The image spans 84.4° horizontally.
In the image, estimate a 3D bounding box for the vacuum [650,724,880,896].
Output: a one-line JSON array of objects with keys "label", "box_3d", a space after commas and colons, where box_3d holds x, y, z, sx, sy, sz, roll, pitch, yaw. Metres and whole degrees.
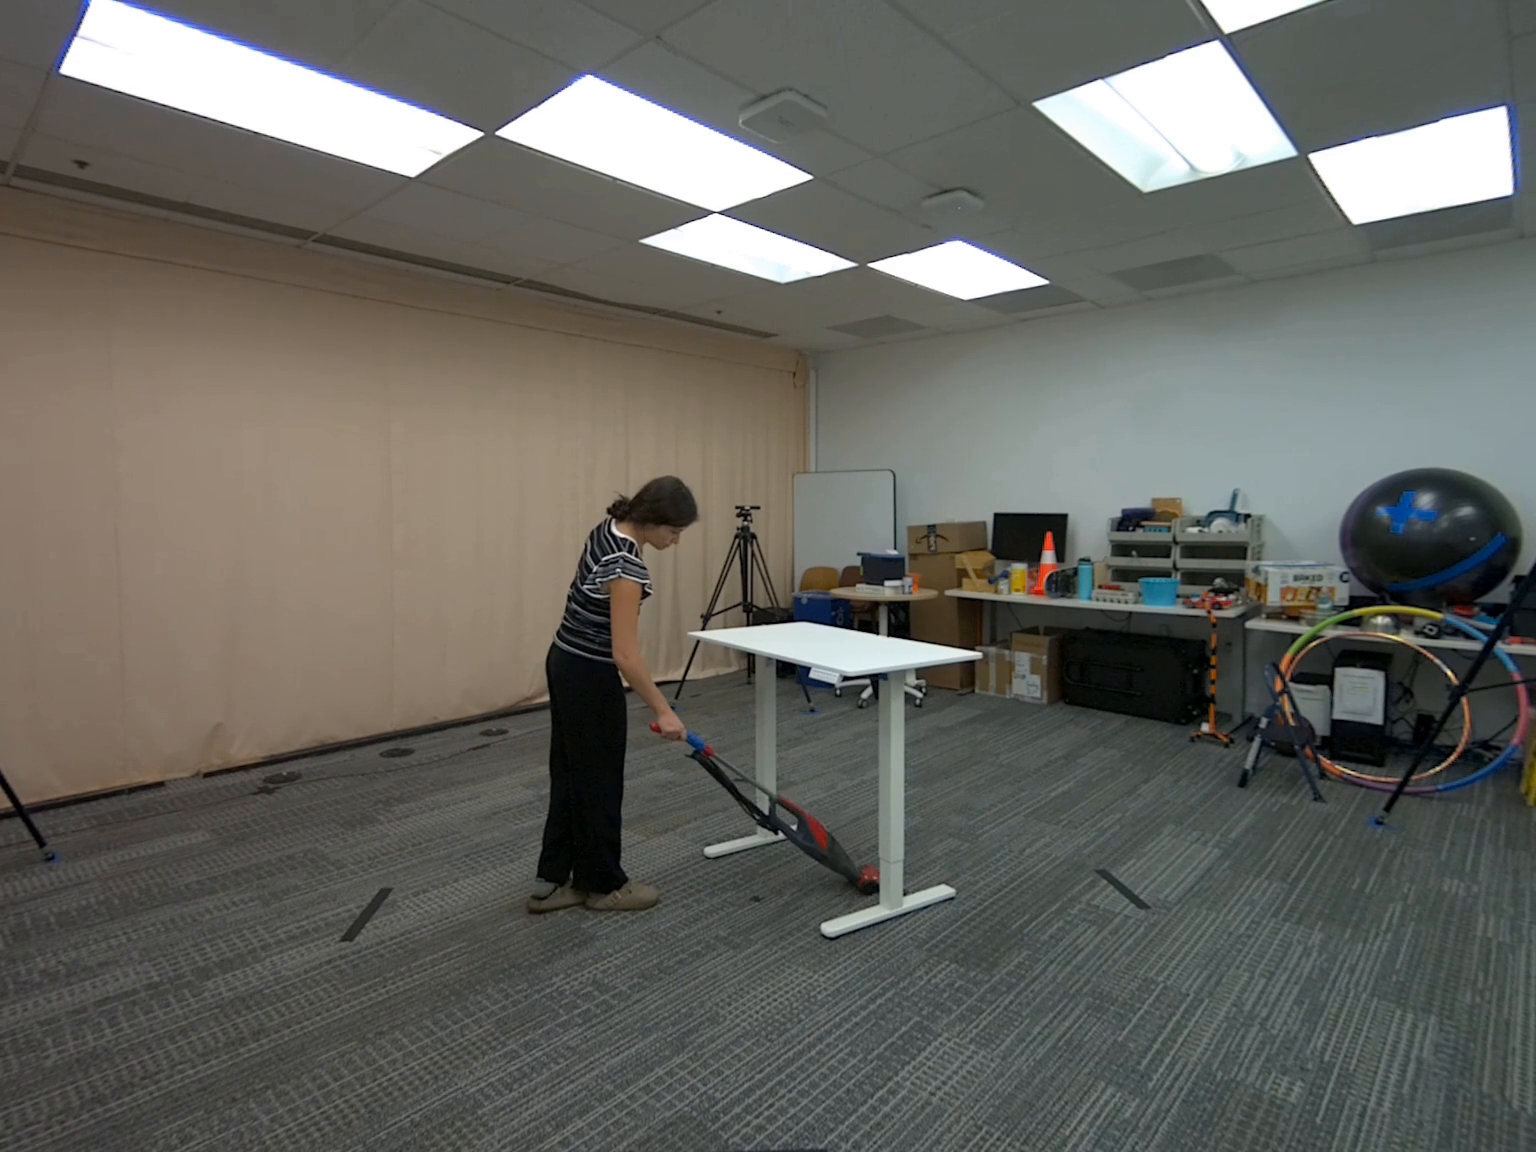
[{"label": "vacuum", "box_3d": [0.002, 0.811, 2.925, 1.026, 0.144, 0.258, 39, -12, -19]}]
